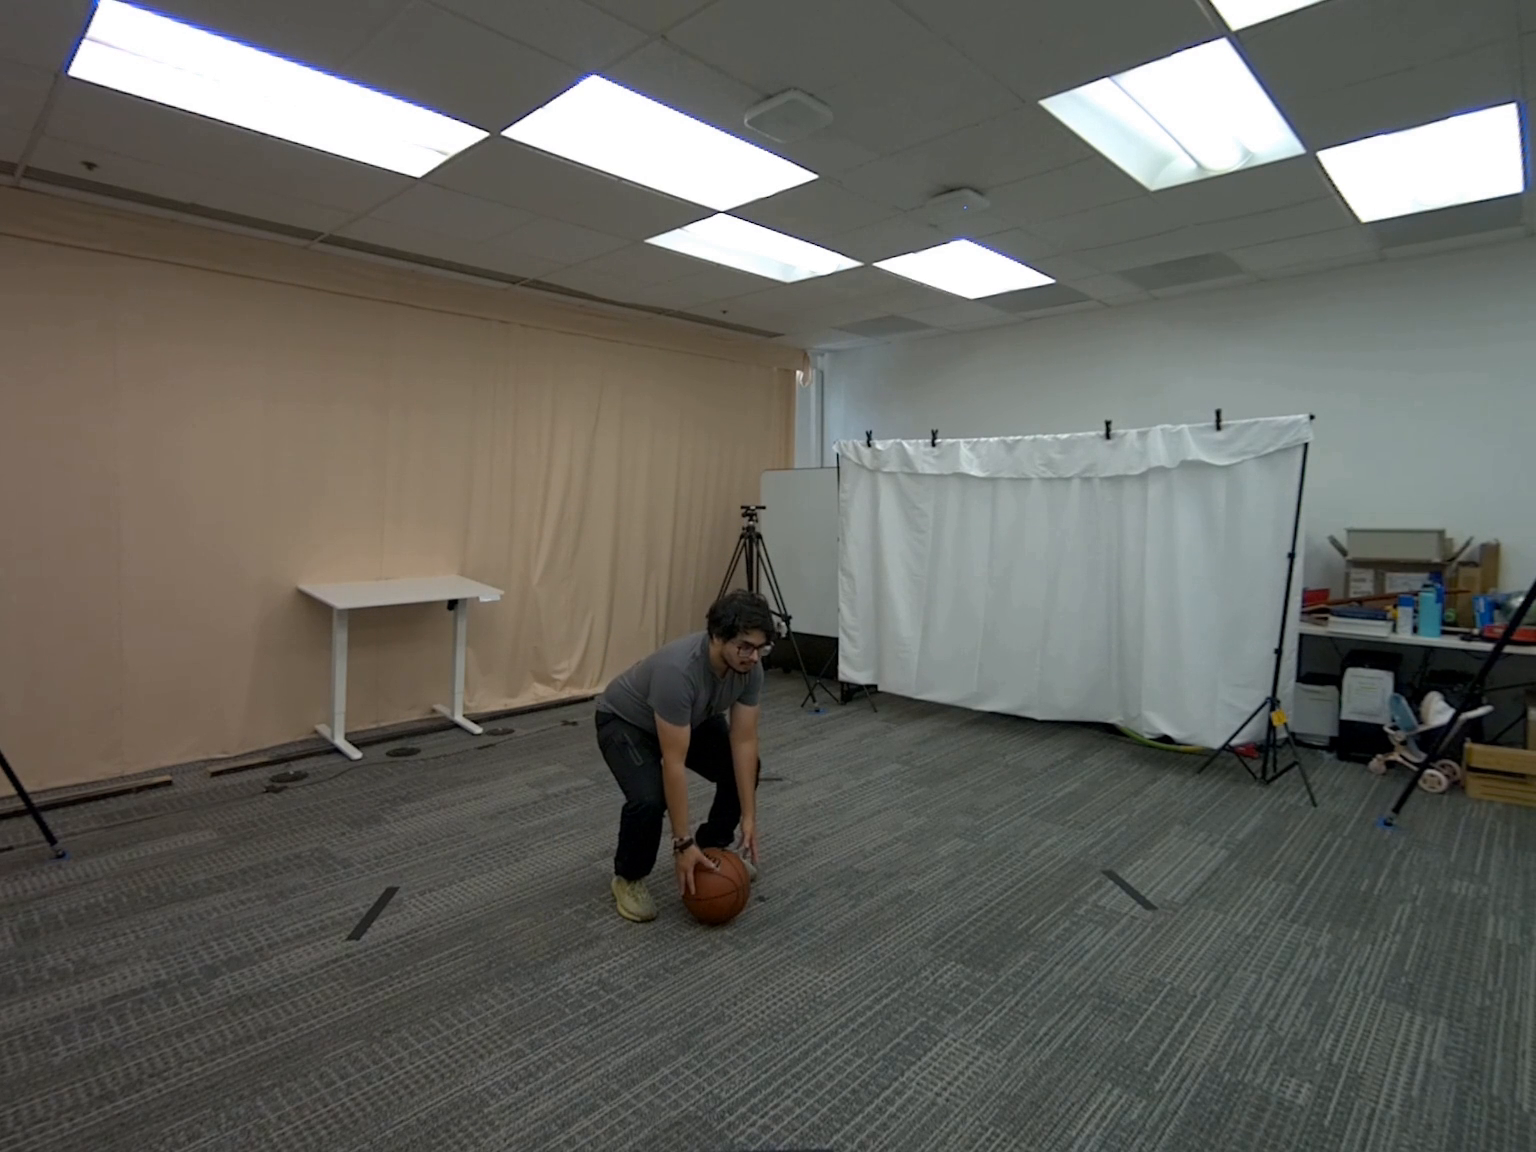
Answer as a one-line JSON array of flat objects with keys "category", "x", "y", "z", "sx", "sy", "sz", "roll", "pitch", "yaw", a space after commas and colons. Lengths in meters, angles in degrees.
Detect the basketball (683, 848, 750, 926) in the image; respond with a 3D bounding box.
[{"category": "basketball", "x": -0.173, "y": 1.032, "z": 2.819, "sx": 0.236, "sy": 0.235, "sz": 0.237, "roll": 0, "pitch": 4, "yaw": -2}]
